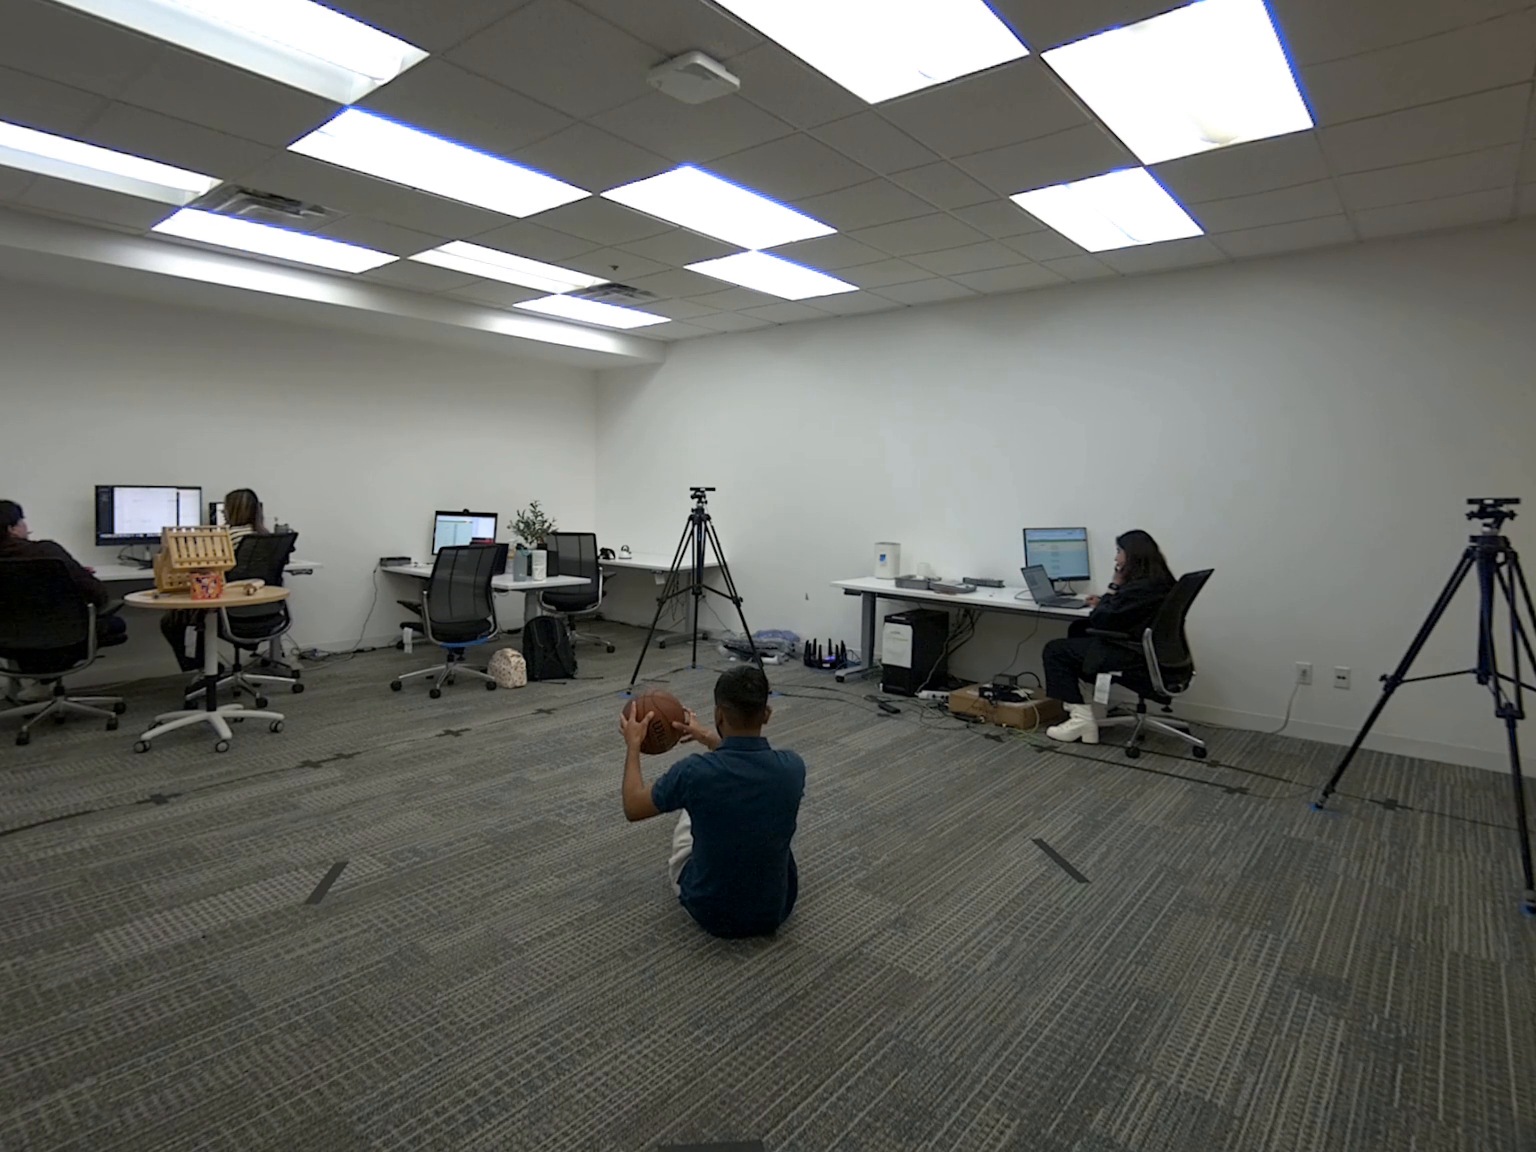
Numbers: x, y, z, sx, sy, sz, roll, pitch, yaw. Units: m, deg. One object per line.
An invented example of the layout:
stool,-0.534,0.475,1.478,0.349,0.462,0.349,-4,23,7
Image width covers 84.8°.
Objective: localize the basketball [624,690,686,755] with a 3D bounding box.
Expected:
basketball,-0.436,0.546,3.130,0.235,0.235,0.237,1,4,-2
